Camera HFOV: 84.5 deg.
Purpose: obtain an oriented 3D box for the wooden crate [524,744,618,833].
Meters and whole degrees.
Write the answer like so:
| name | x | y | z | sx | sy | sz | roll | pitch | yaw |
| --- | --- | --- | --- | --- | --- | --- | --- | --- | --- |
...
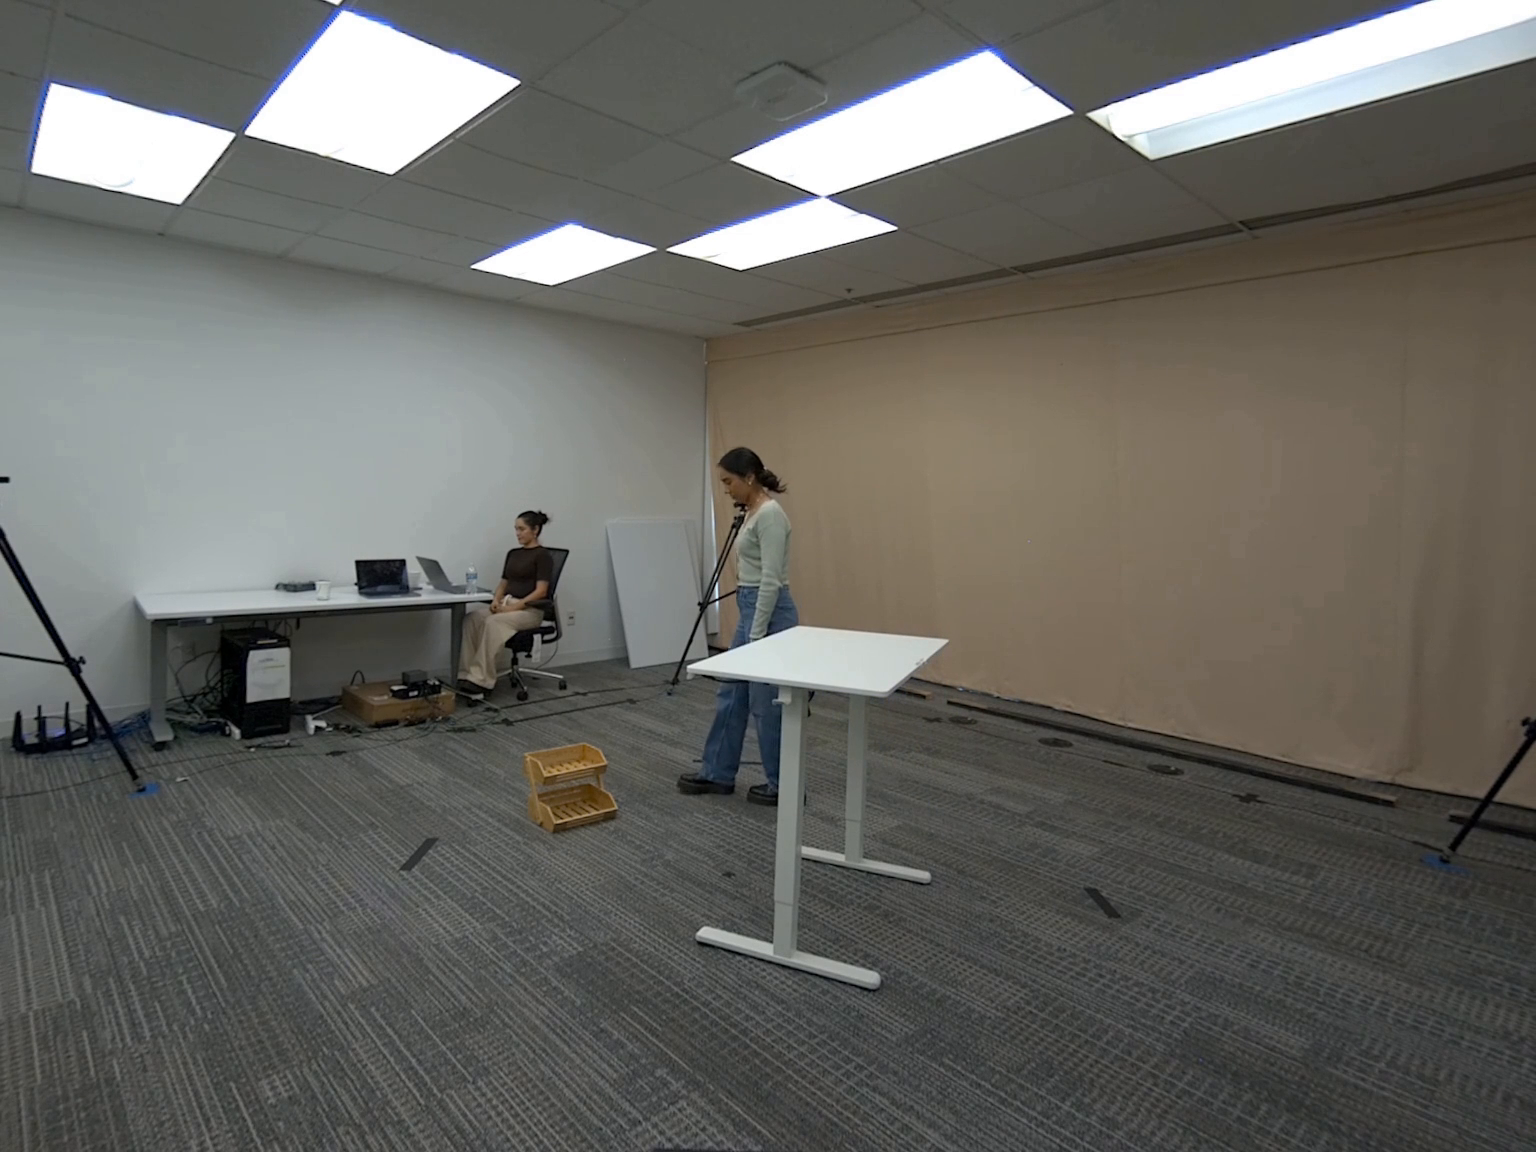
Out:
| name | x | y | z | sx | sy | sz | roll | pitch | yaw |
| --- | --- | --- | --- | --- | --- | --- | --- | --- | --- |
| wooden crate | -0.862 | 0.903 | 3.636 | 0.317 | 0.273 | 0.309 | -2 | 5 | -40 |
